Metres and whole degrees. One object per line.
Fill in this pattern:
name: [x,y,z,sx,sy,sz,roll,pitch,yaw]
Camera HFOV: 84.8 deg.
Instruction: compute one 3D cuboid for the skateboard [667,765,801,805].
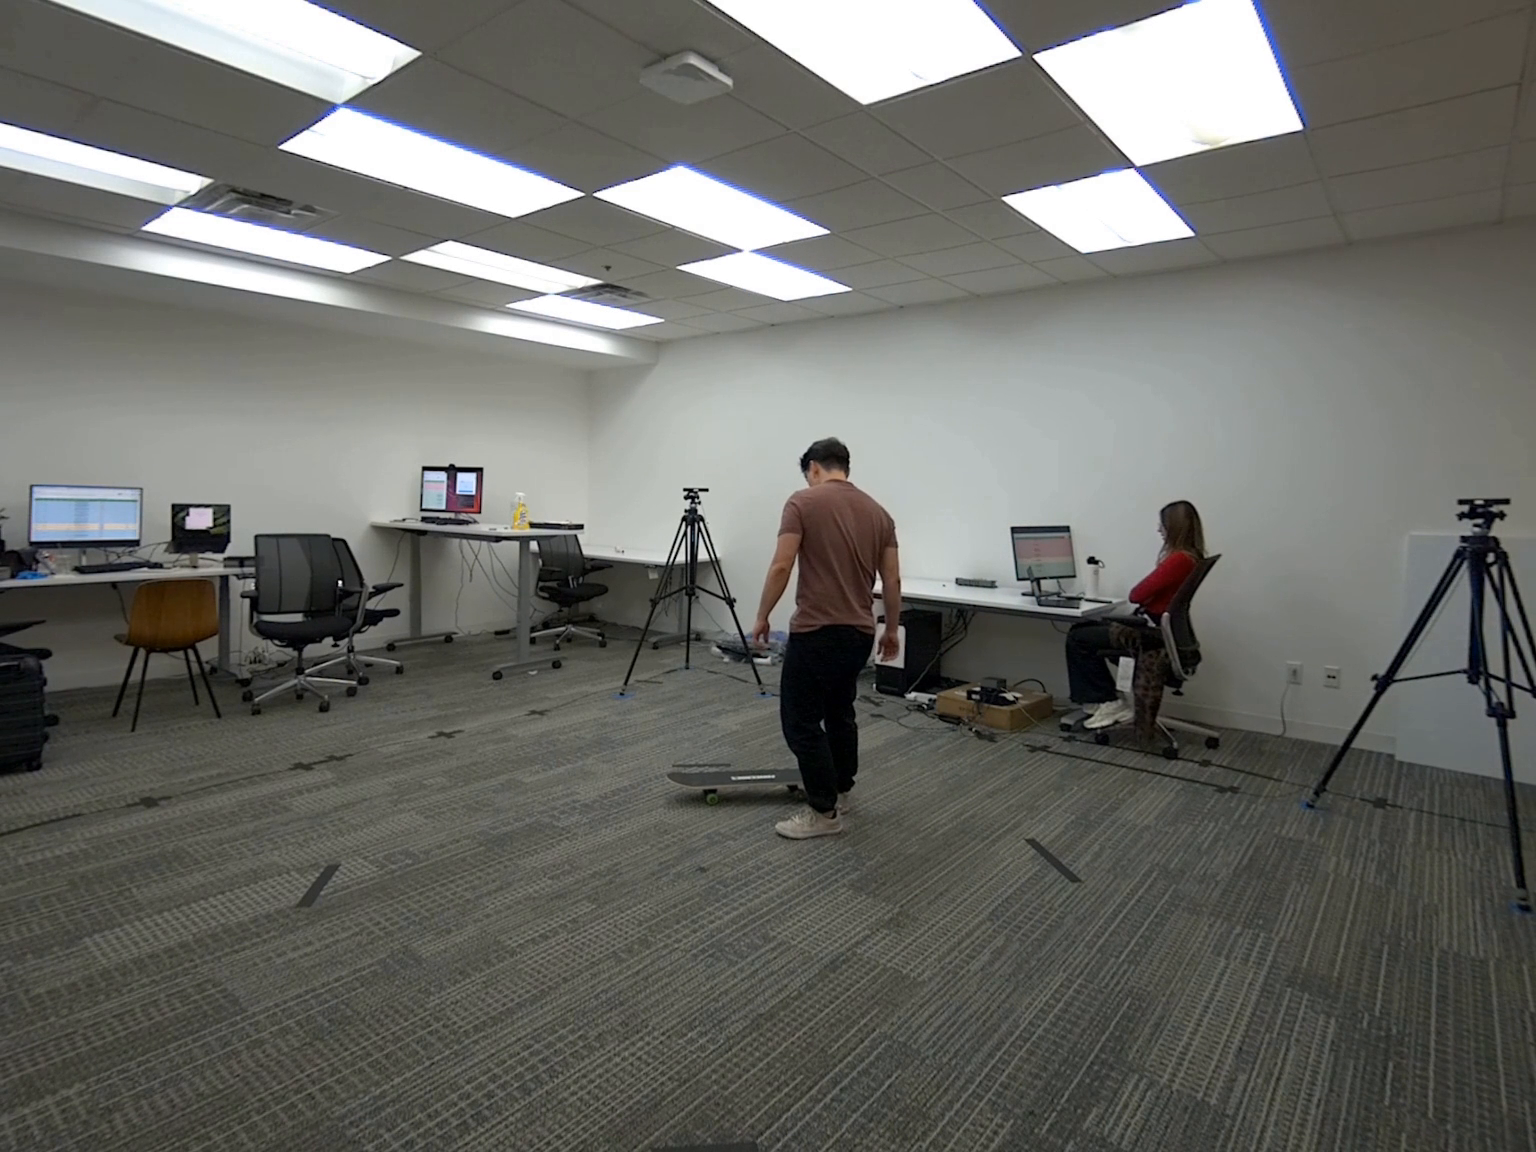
skateboard: [-0.088,0.940,3.857,0.777,0.110,0.196,1,6,-9]
